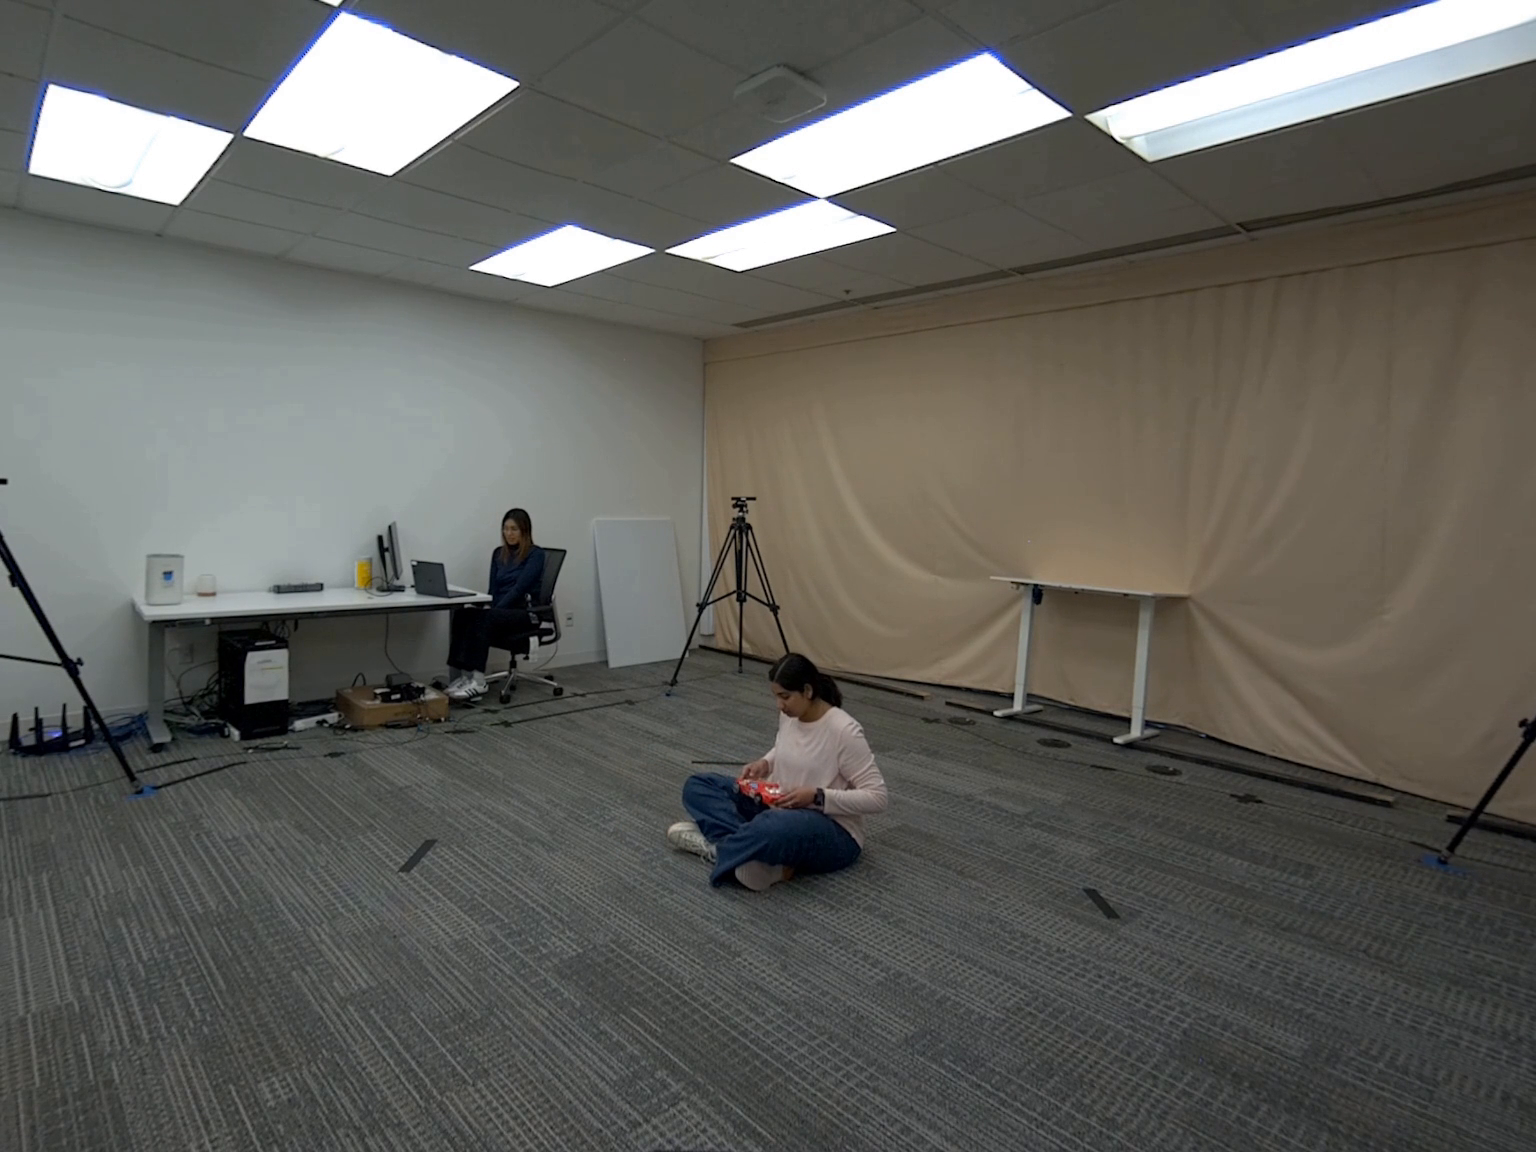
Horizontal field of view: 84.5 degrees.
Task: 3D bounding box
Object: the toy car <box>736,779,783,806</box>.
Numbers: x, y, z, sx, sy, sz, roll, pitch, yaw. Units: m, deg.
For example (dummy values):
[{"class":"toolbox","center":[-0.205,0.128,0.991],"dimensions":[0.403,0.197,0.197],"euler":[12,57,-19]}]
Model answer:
[{"class":"toy car","center":[-0.031,0.838,3.249],"dimensions":[0.127,0.084,0.259],"euler":[11,-12,-37]}]
